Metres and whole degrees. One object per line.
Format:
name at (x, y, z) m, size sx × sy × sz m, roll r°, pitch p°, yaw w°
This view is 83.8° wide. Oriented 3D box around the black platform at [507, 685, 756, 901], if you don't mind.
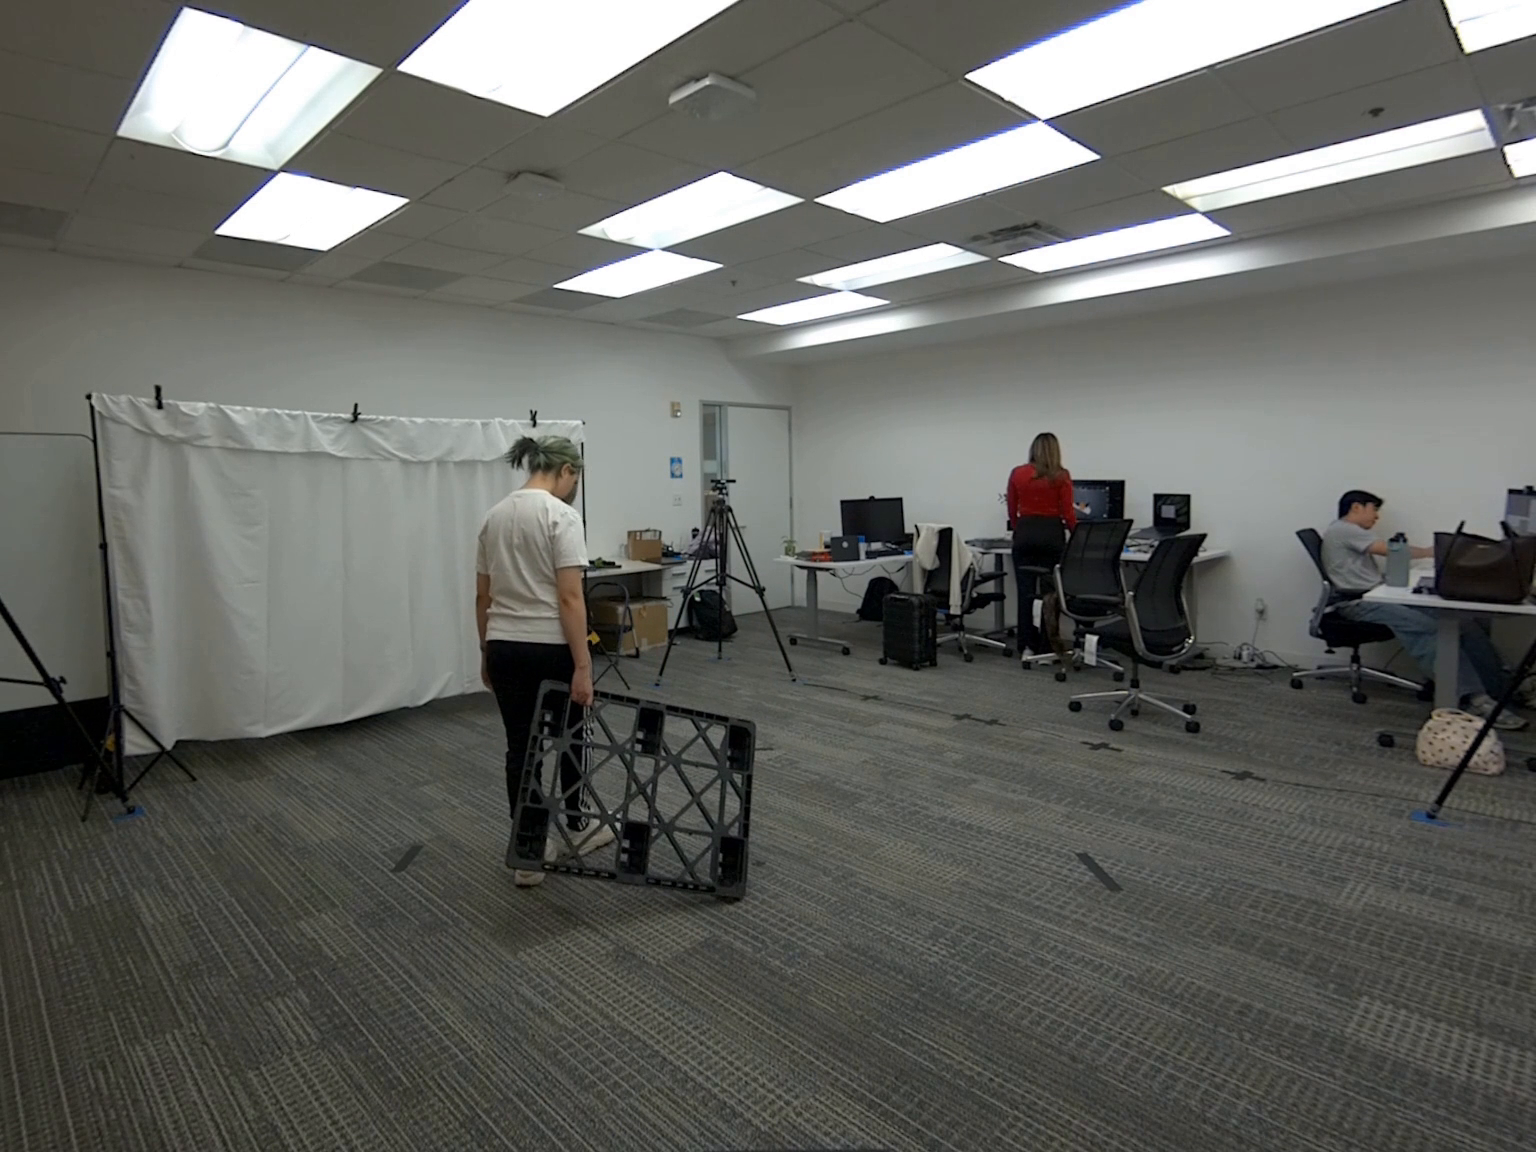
black platform at (-0.440, 0.734, 2.903) m, size 0.790 × 0.617 × 0.143 m, roll 14°, pitch -28°, yaw -17°
